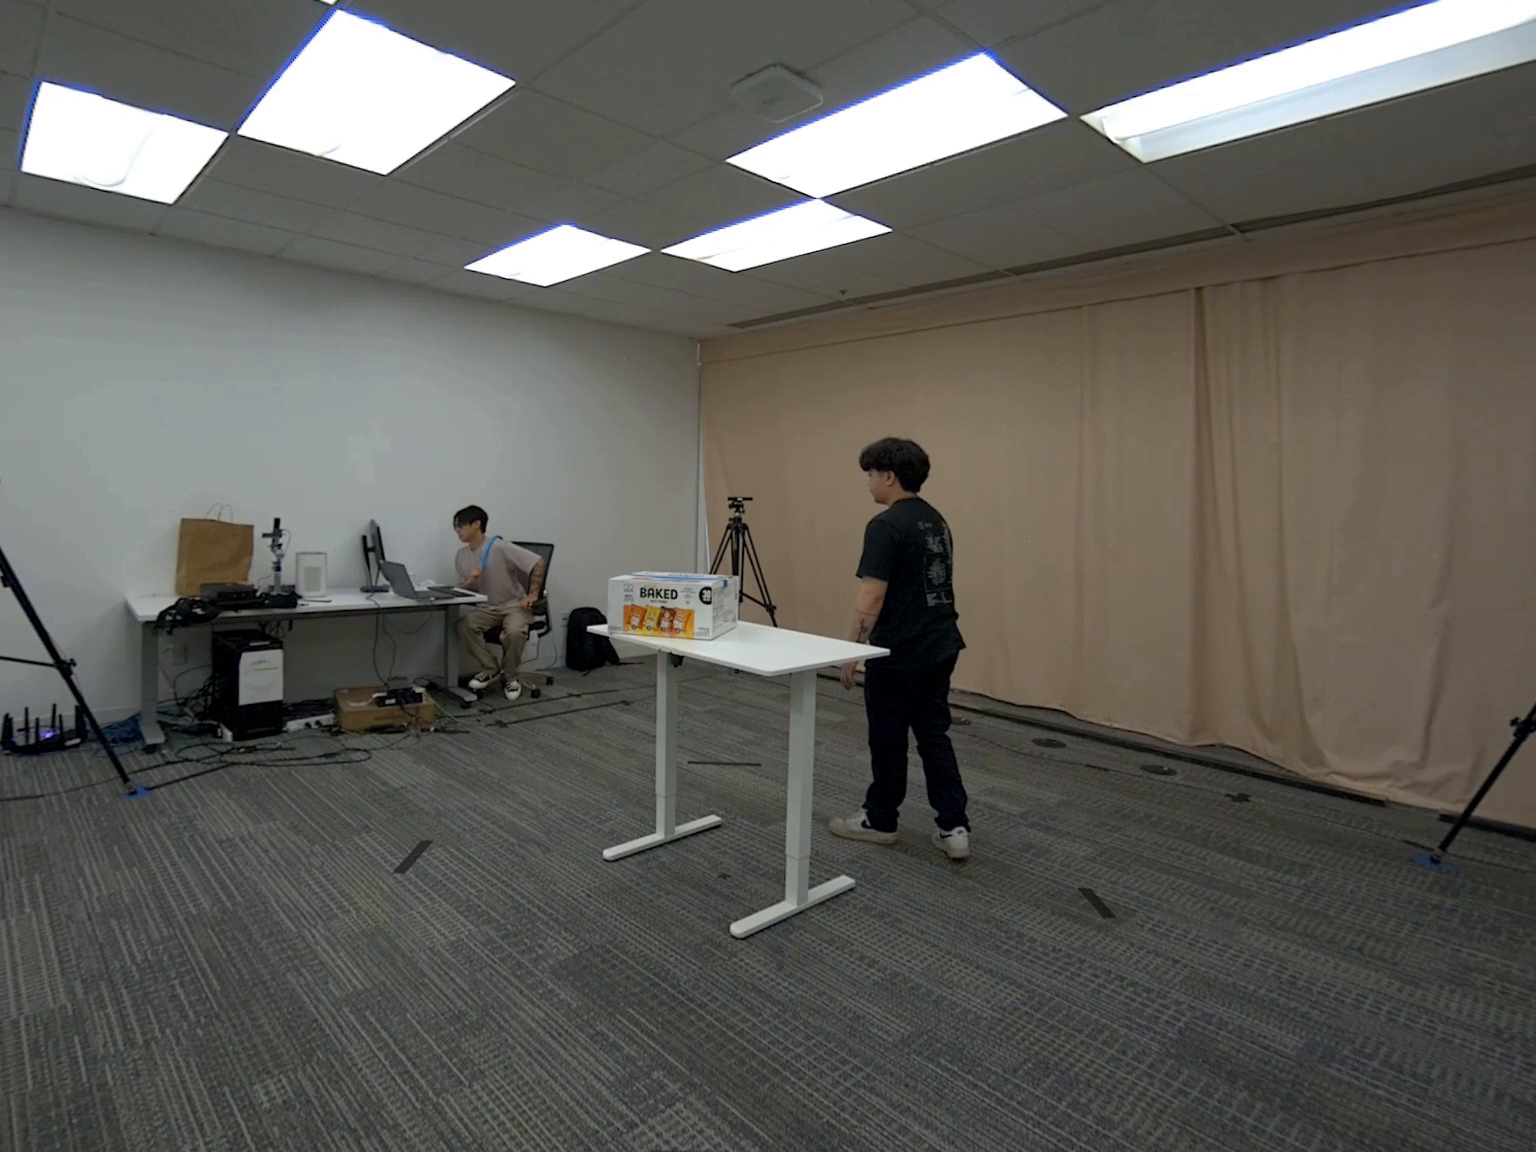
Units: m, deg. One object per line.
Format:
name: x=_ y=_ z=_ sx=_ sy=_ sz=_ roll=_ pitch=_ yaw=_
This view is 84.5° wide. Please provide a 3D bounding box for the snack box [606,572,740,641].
snack box: x=-0.361 y=0.106 z=3.213 sx=0.410 sy=0.205 sz=0.337 roll=3 pitch=5 yaw=15
